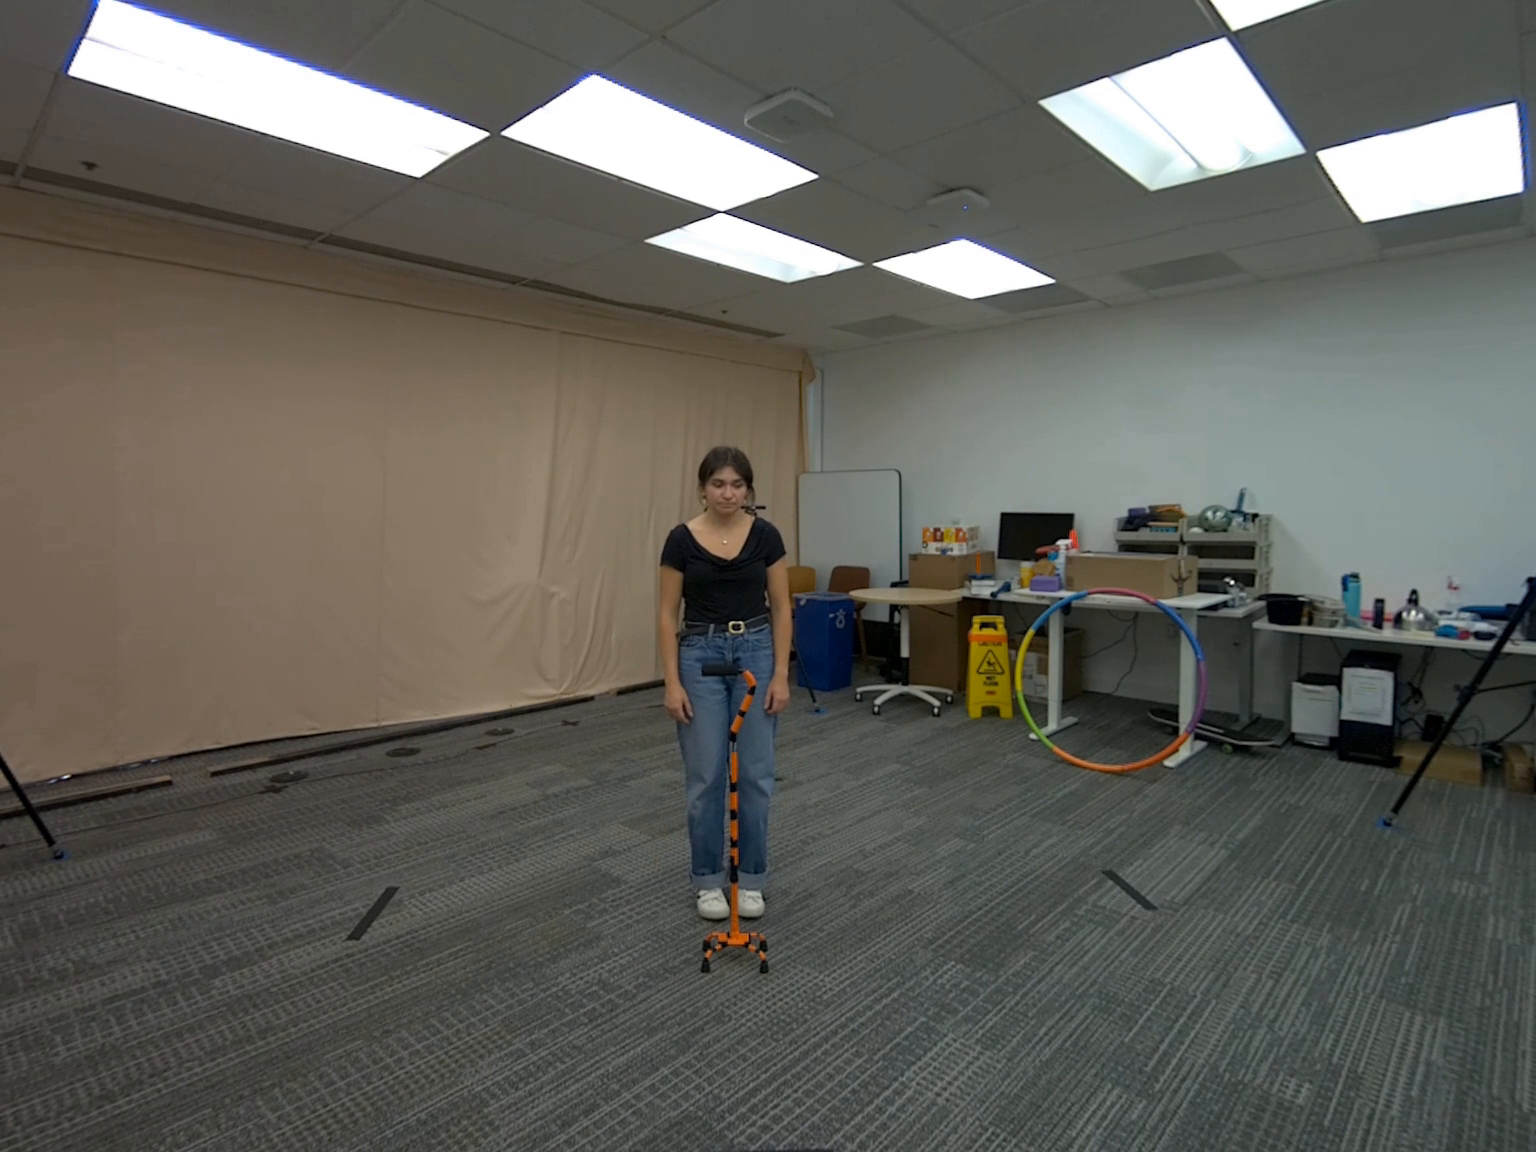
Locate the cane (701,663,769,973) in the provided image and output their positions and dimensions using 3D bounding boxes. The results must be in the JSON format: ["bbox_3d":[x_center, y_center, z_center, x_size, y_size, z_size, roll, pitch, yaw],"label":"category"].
[{"bbox_3d":[-0.099,0.720,2.561,0.206,0.906,0.152,0,3,-1],"label":"cane"}]
